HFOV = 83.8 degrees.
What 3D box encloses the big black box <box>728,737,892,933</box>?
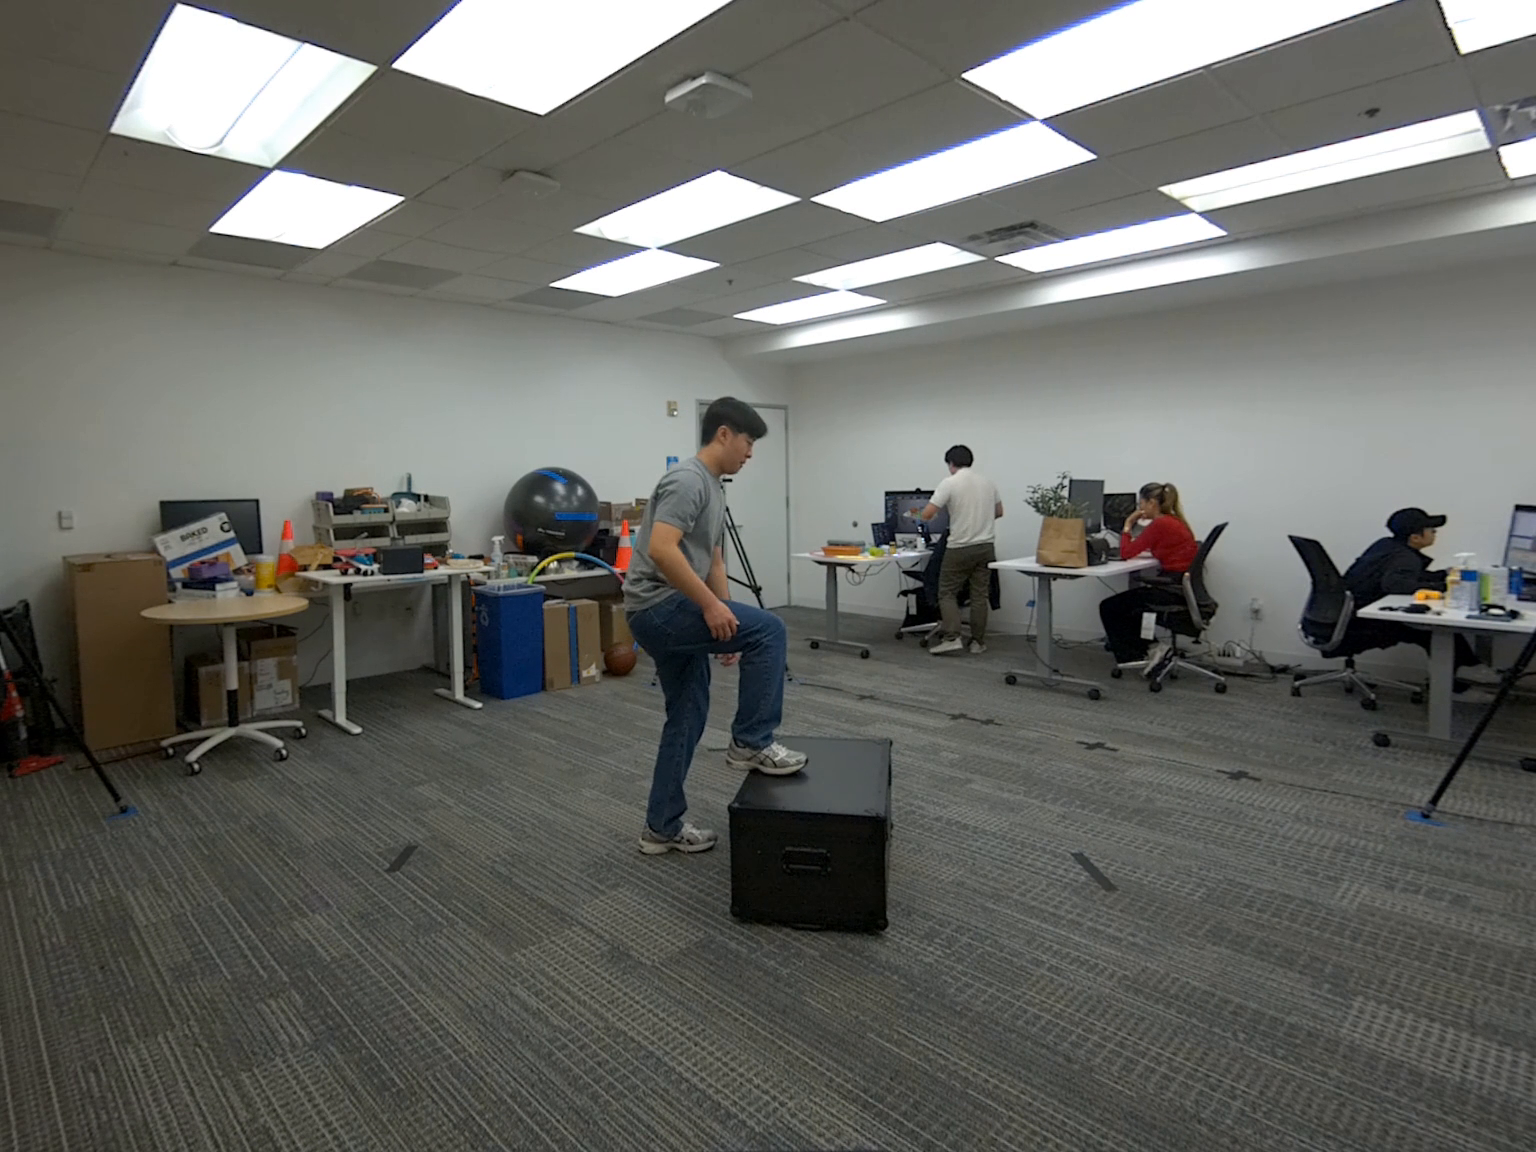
[{"bbox_3d":[0.190,0.856,3.032,0.527,0.394,0.856,-1,6,10],"label":"big black box"}]
